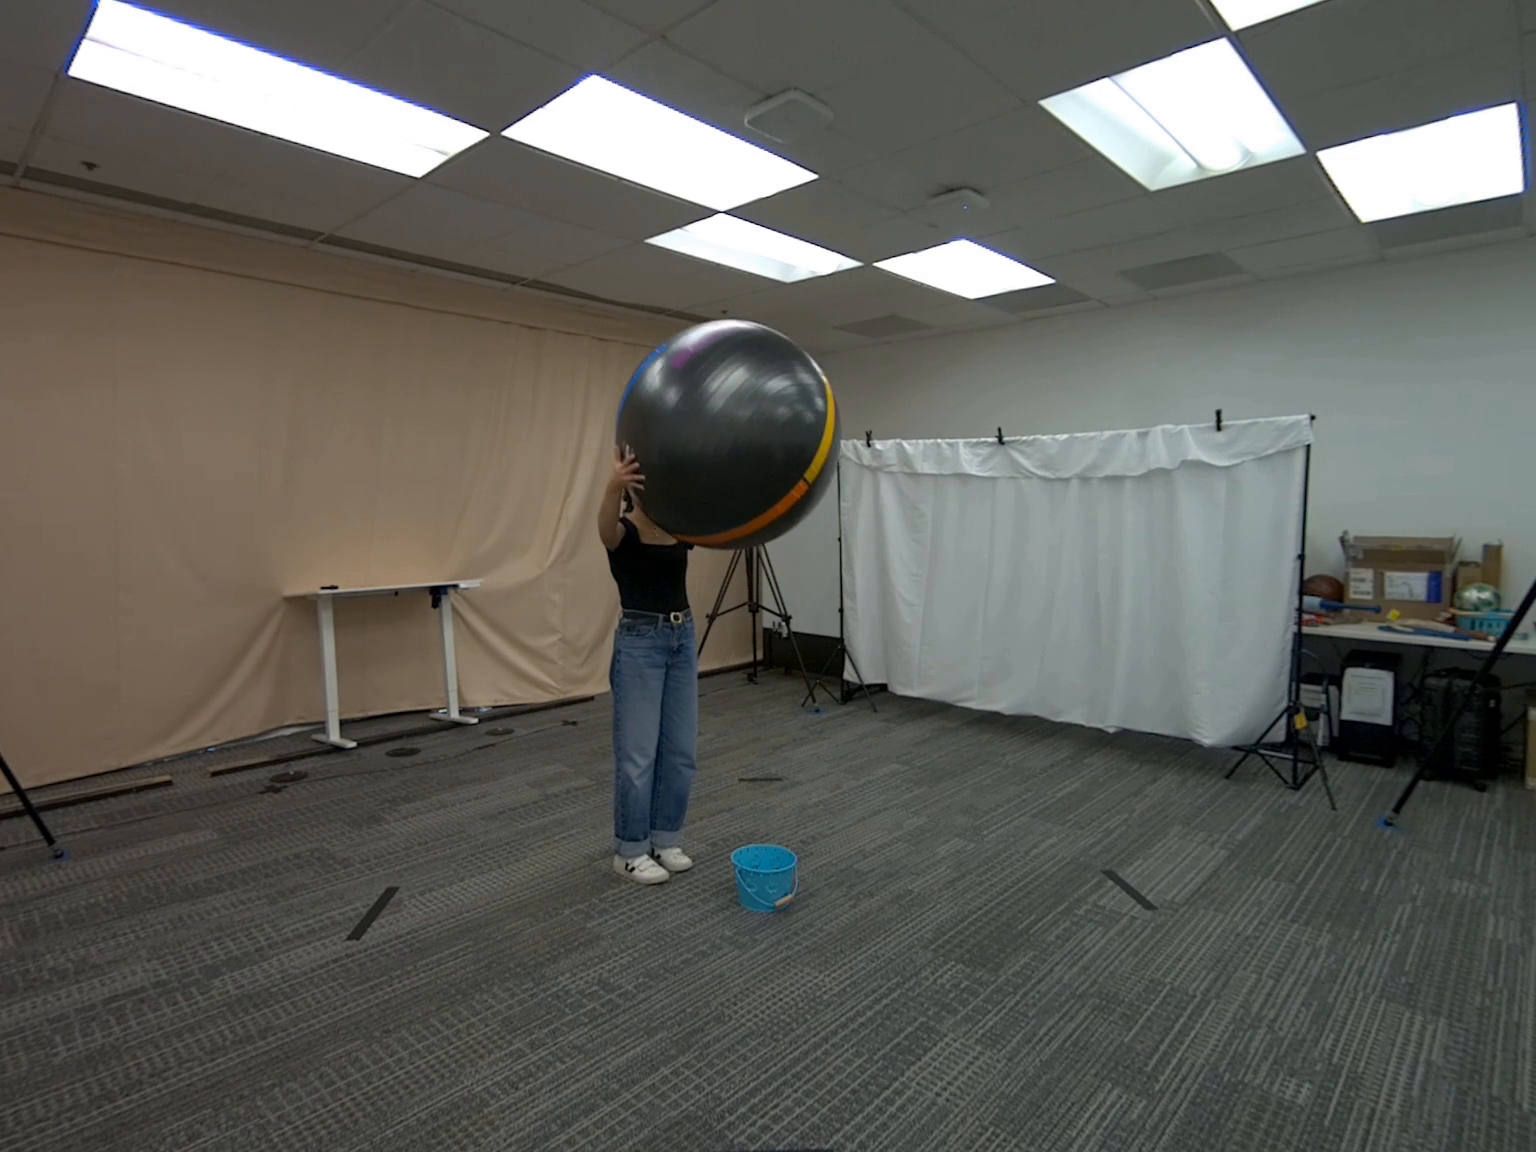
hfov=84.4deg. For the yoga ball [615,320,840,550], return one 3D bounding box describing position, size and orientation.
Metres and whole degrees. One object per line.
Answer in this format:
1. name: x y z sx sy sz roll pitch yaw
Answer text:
1. yoga ball: -0.135 -0.459 2.838 0.757 0.756 0.760 0 4 -2
